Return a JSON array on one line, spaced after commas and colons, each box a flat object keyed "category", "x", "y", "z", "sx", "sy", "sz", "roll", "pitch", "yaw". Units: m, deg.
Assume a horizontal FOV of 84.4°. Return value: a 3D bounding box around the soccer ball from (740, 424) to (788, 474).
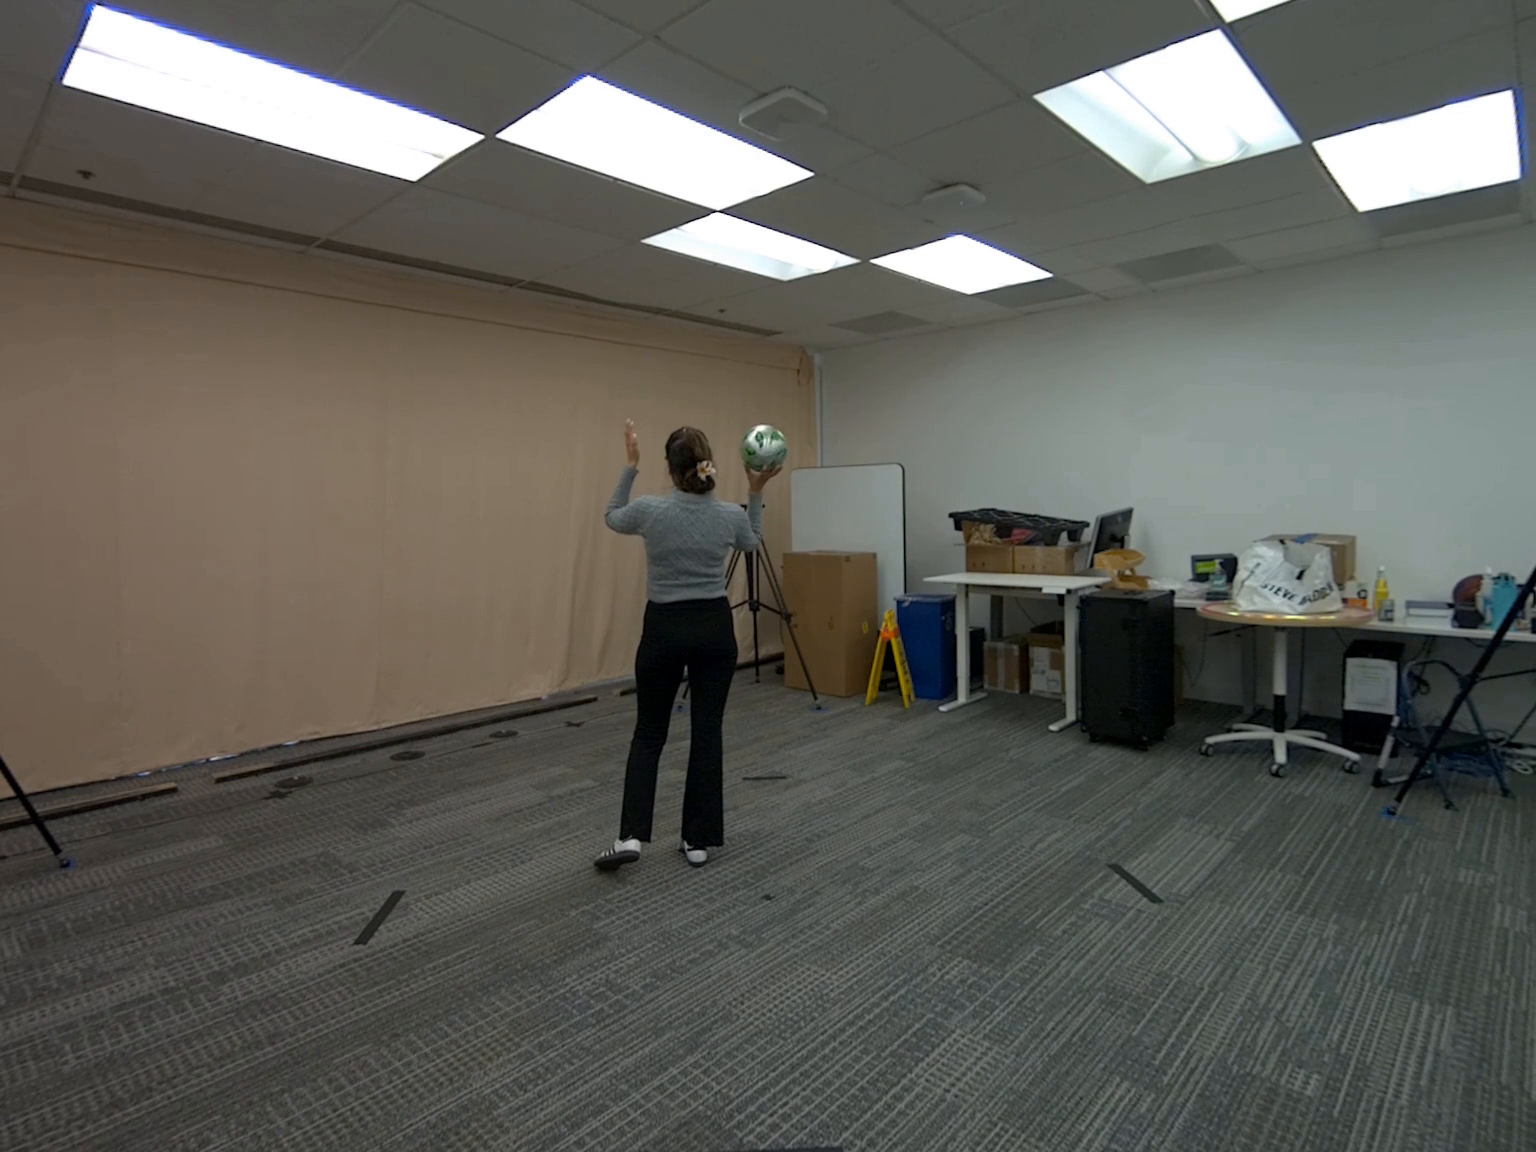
[{"category": "soccer ball", "x": -0.026, "y": -0.498, "z": 3.313, "sx": 0.187, "sy": 0.187, "sz": 0.188, "roll": -1, "pitch": 4, "yaw": -2}]
